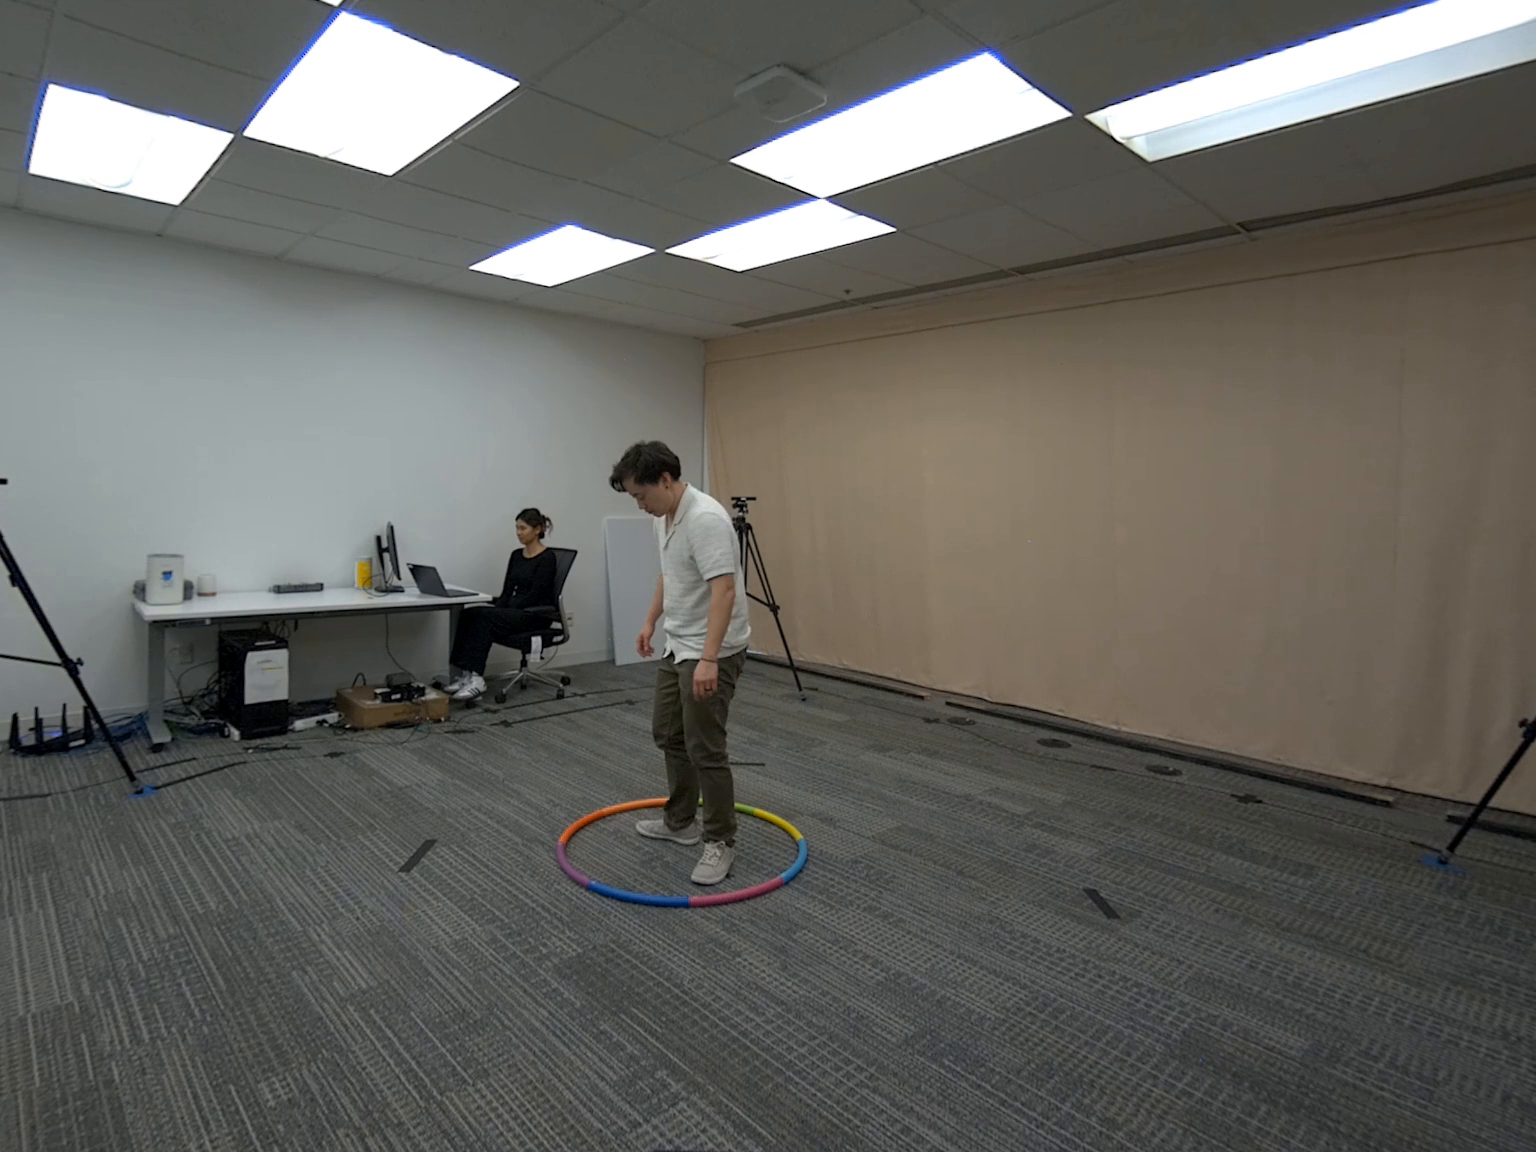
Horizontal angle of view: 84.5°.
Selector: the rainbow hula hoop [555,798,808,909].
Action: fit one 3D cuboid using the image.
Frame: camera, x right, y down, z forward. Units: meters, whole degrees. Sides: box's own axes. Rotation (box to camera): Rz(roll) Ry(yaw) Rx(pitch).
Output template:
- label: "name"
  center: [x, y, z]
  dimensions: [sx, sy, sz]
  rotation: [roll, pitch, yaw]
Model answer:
- label: "rainbow hula hoop"
  center: [-0.345, 1.053, 3.337]
  dimensions: [0.978, 0.035, 0.982]
  rotation: [1, 5, -1]
